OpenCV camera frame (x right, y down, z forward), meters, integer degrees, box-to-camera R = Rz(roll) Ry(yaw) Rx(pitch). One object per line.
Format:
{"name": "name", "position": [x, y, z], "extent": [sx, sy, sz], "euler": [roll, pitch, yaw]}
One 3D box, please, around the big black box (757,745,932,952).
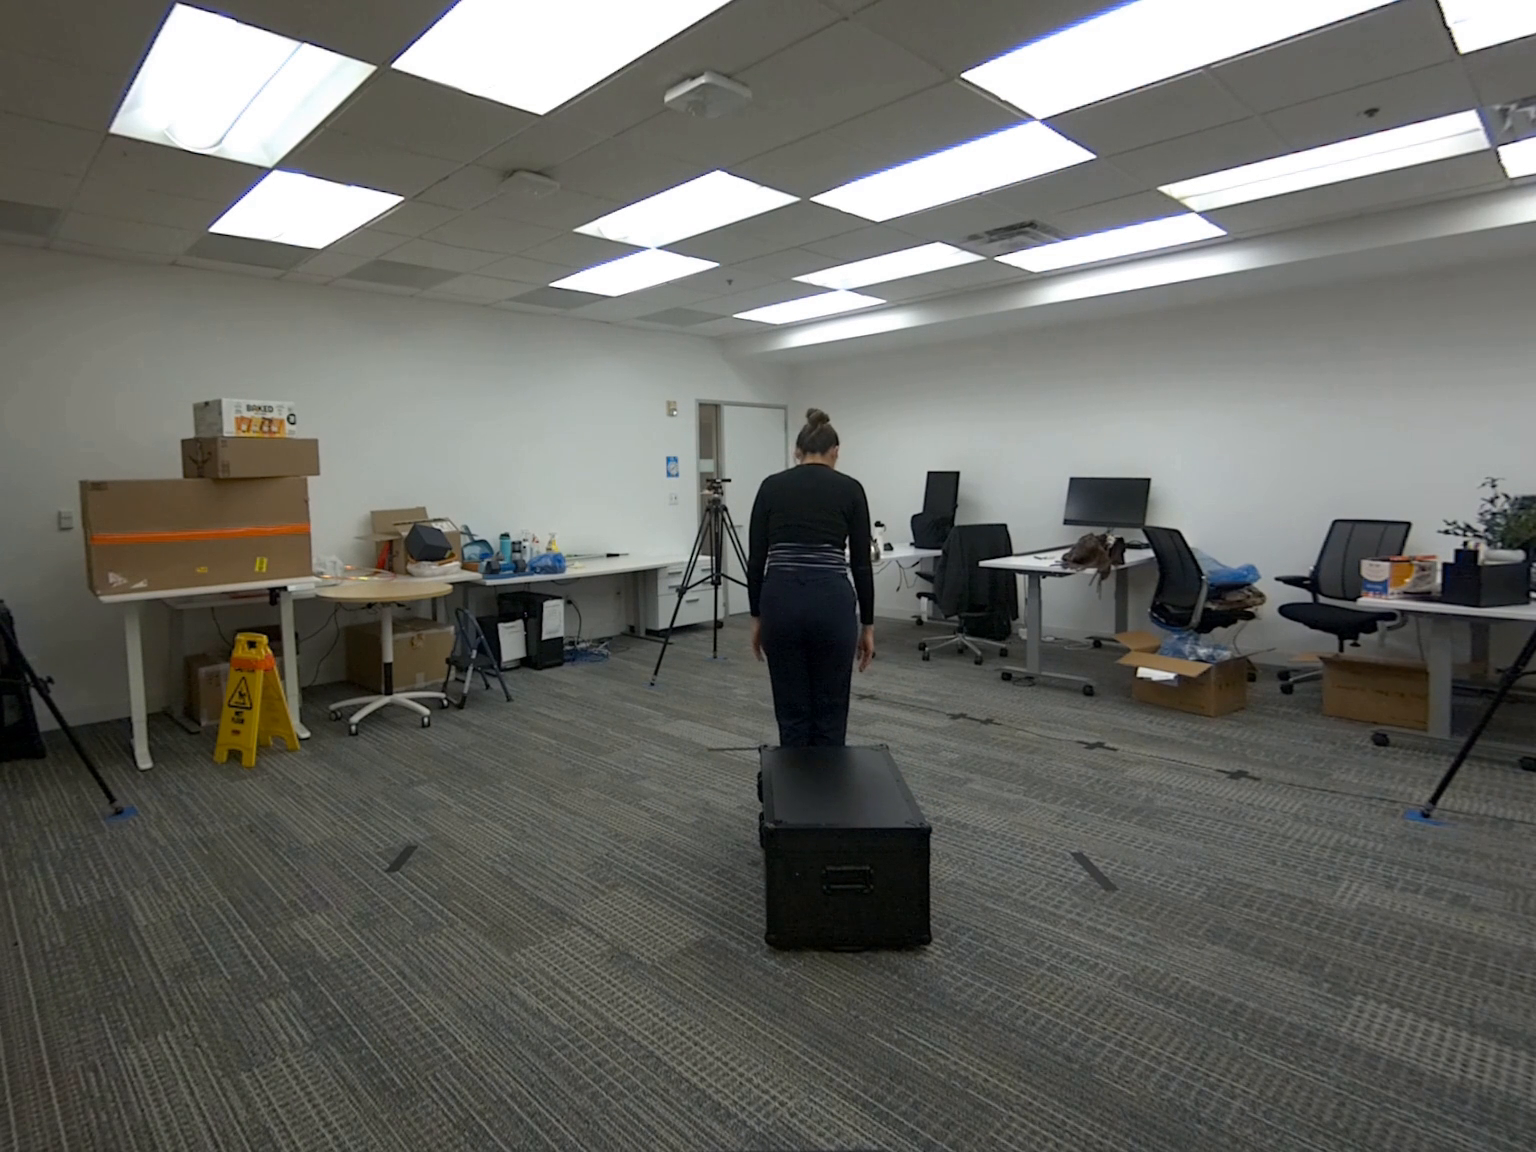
{"name": "big black box", "position": [0.228, 0.867, 2.910], "extent": [0.521, 0.394, 0.865], "euler": [-2, 6, -1]}
